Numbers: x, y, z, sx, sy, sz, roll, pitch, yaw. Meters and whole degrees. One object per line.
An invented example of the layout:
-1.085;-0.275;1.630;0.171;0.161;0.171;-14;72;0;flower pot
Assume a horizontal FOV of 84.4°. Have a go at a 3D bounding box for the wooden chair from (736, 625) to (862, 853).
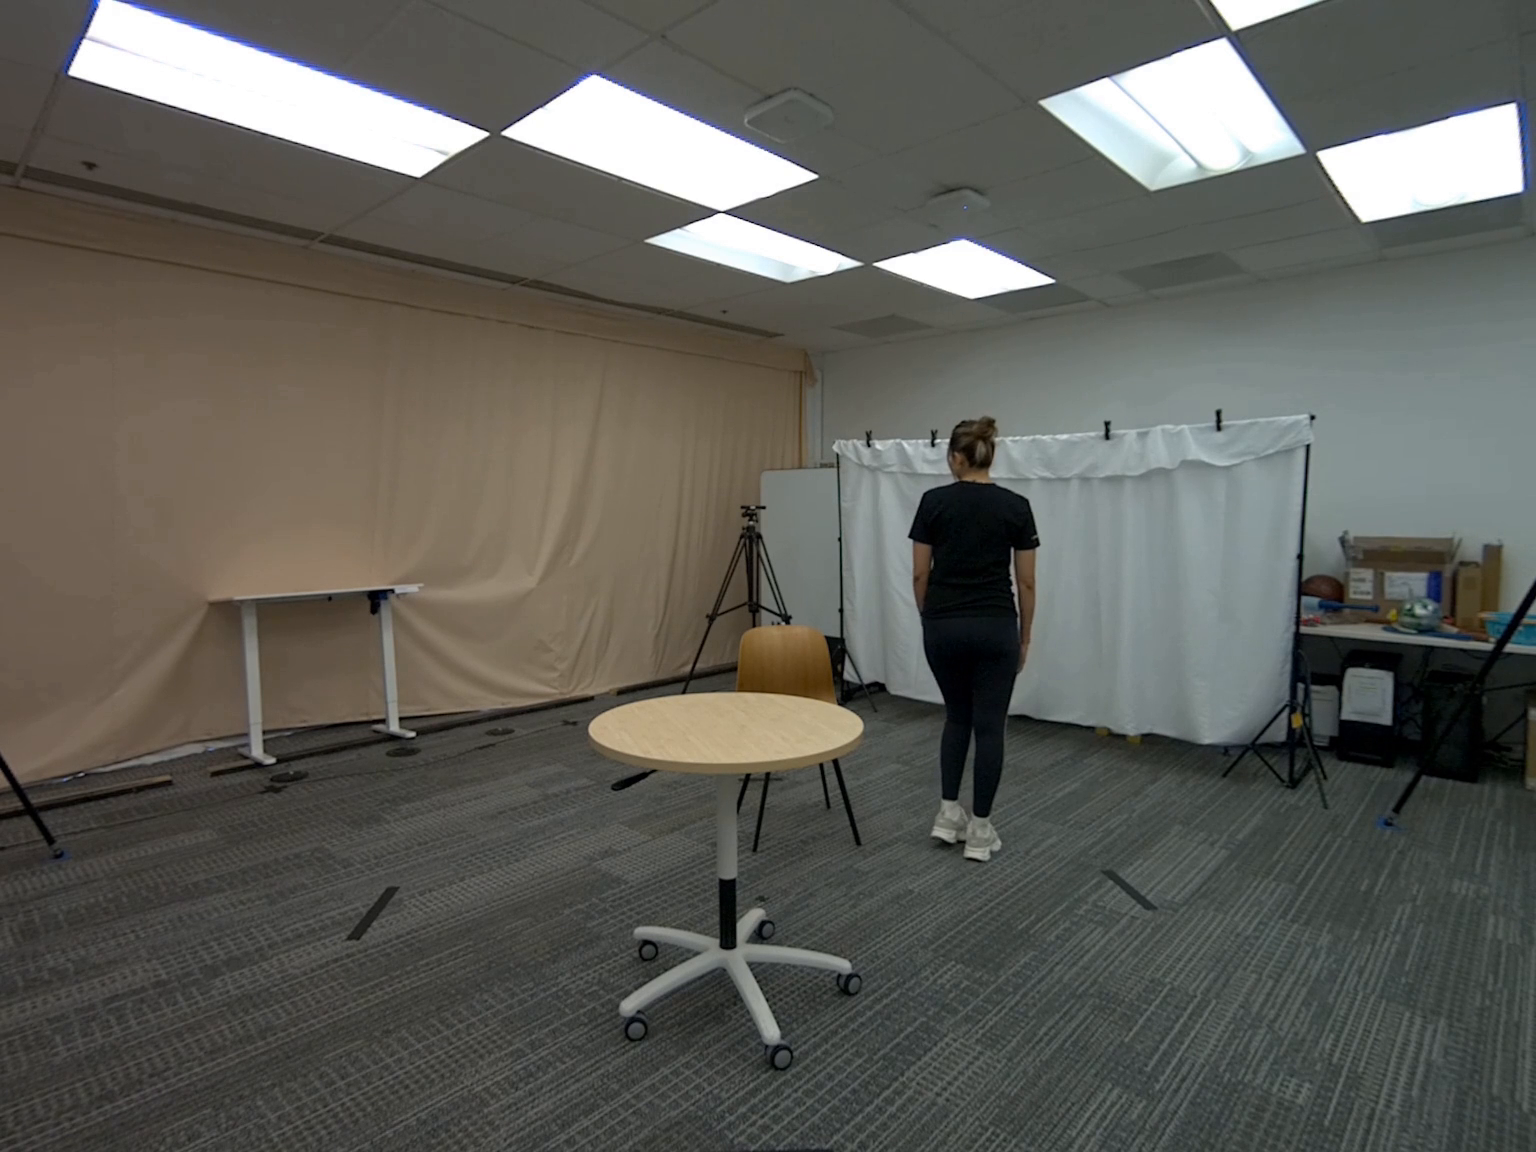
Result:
0.121;0.665;3.597;0.473;0.878;0.528;0;-1;-11;wooden chair
